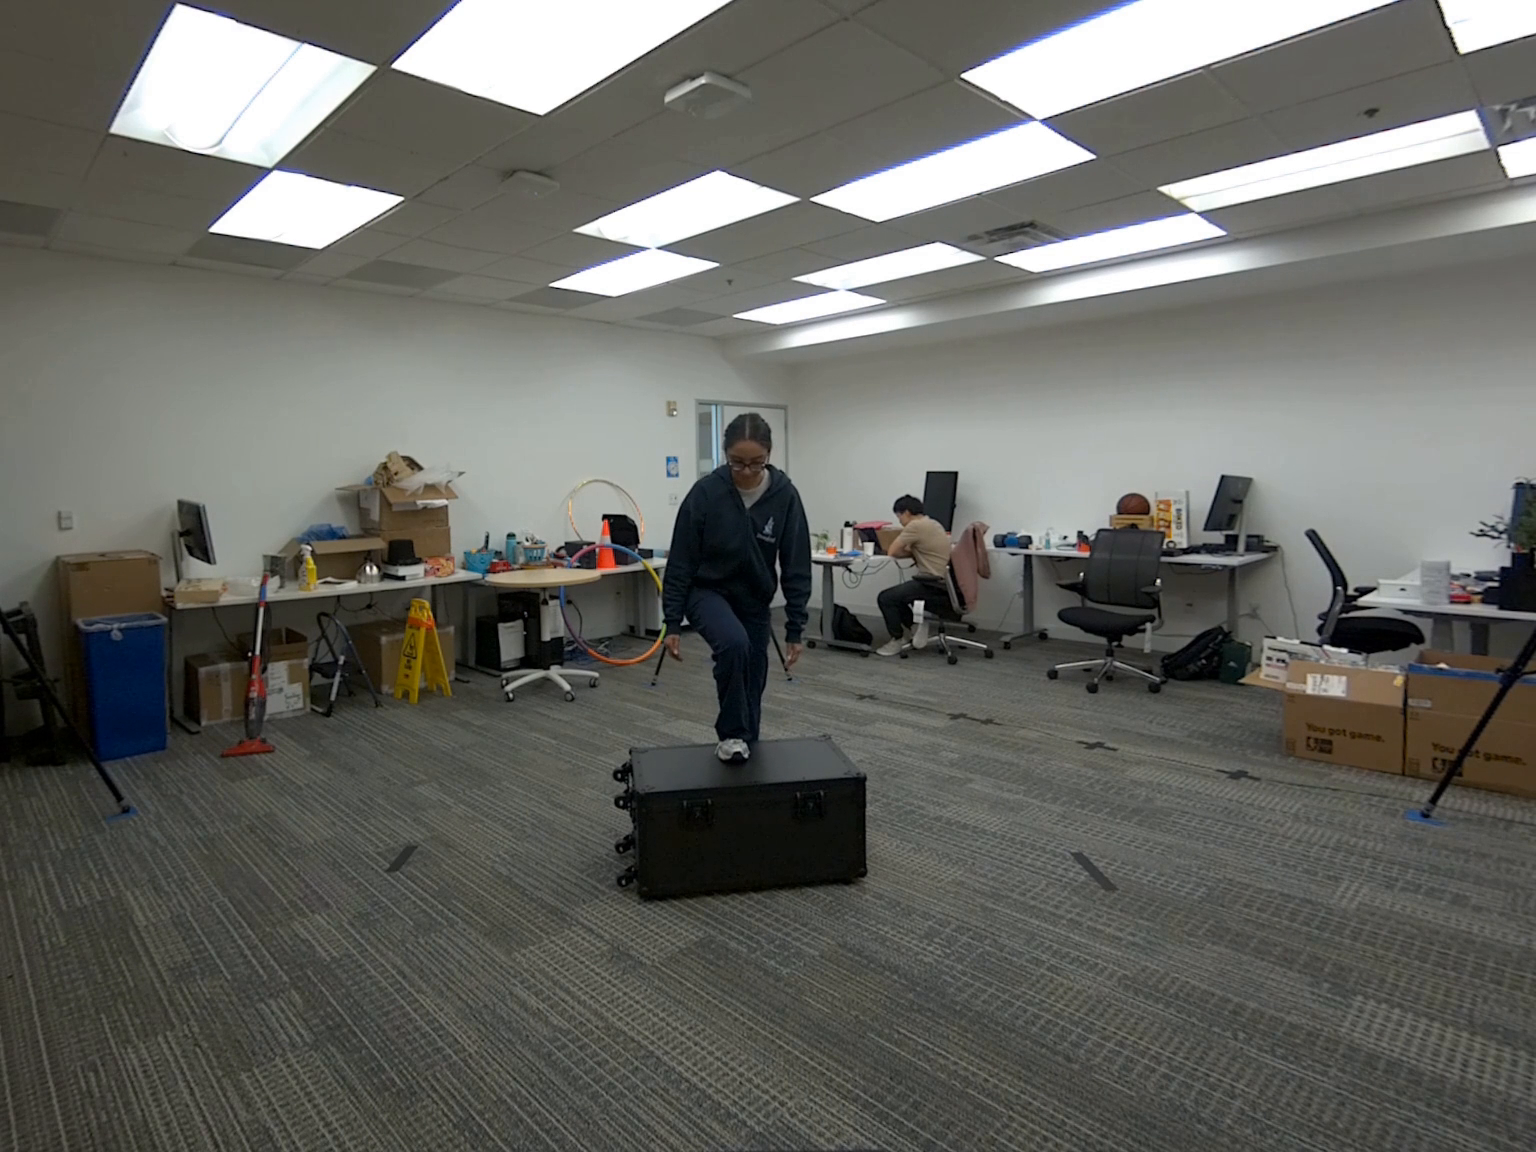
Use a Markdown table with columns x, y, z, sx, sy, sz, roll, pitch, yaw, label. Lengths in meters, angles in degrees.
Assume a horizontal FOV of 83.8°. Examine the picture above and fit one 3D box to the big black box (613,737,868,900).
| x | y | z | sx | sy | sz | roll | pitch | yaw | label |
| --- | --- | --- | --- | --- | --- | --- | --- | --- | --- |
| -0.126 | 0.856 | 3.093 | 0.854 | 0.395 | 0.528 | -2 | 5 | -9 | big black box |
